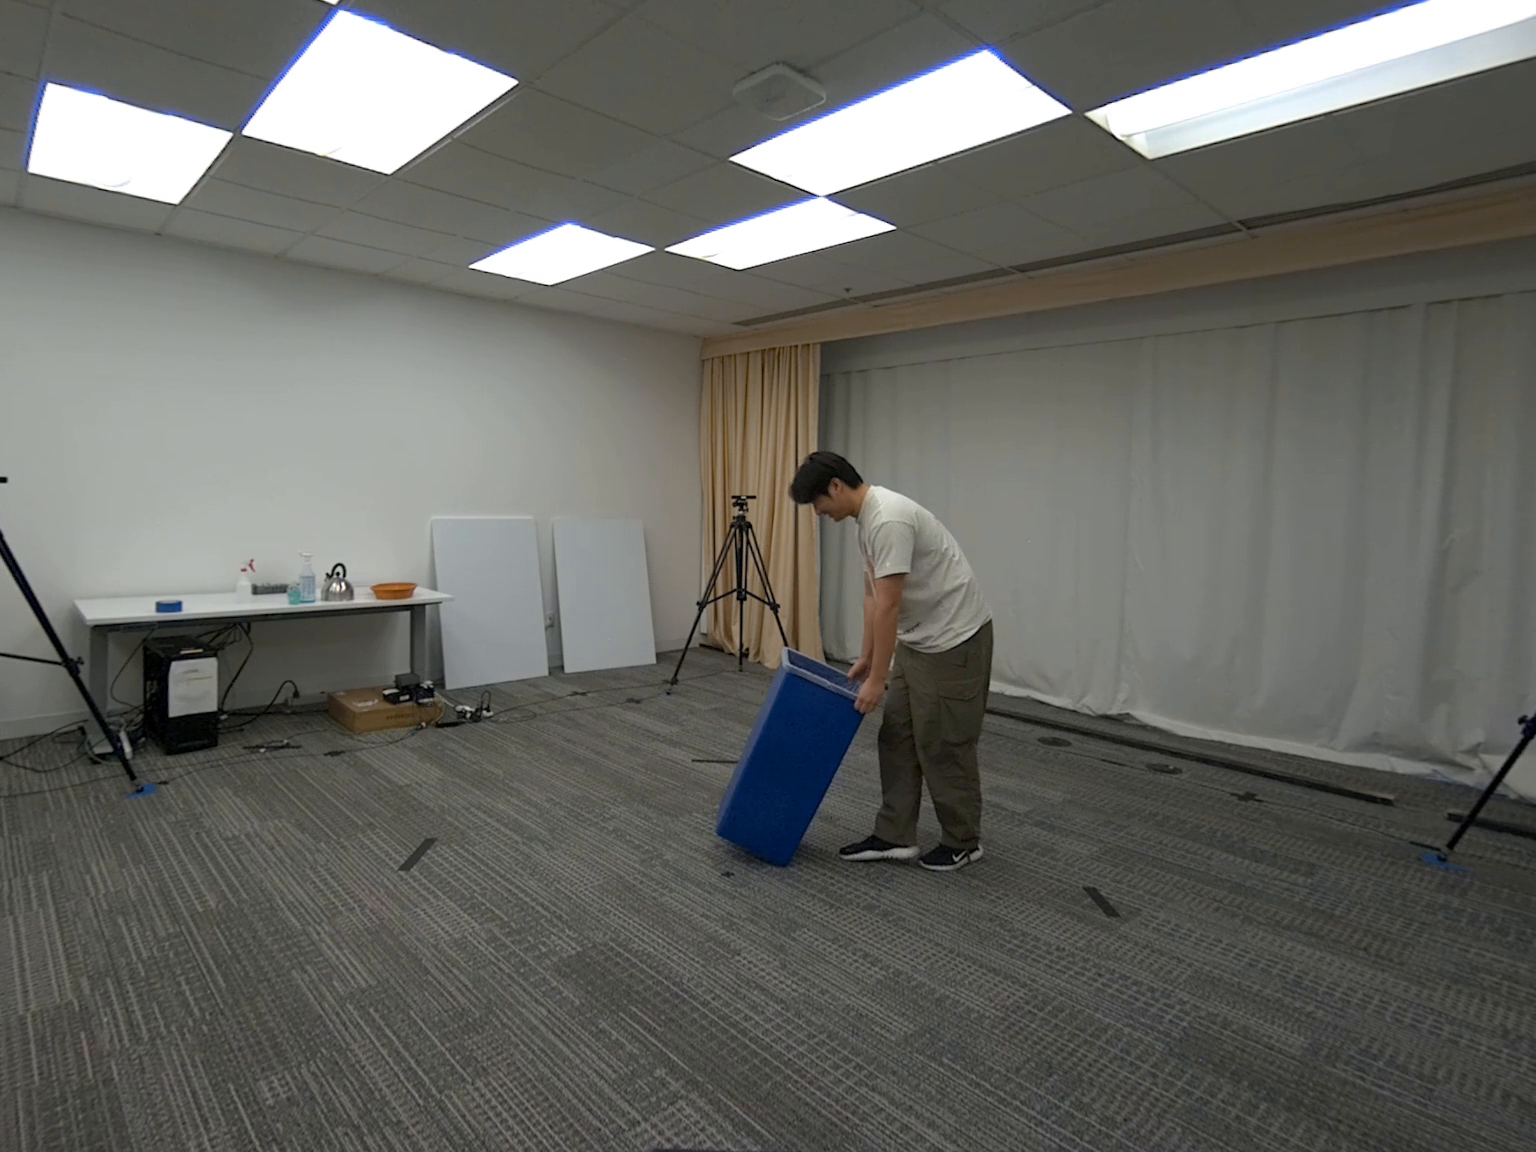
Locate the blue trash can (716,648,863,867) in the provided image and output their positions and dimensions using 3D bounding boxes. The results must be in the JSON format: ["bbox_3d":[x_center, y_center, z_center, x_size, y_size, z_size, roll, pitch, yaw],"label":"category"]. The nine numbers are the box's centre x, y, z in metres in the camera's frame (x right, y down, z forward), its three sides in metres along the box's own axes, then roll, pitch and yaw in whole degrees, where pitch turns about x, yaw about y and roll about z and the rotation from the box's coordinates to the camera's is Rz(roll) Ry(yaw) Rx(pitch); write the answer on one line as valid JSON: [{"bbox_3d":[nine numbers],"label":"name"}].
[{"bbox_3d":[0.078,0.699,3.290,0.374,0.712,0.378,25,4,-1],"label":"blue trash can"}]
